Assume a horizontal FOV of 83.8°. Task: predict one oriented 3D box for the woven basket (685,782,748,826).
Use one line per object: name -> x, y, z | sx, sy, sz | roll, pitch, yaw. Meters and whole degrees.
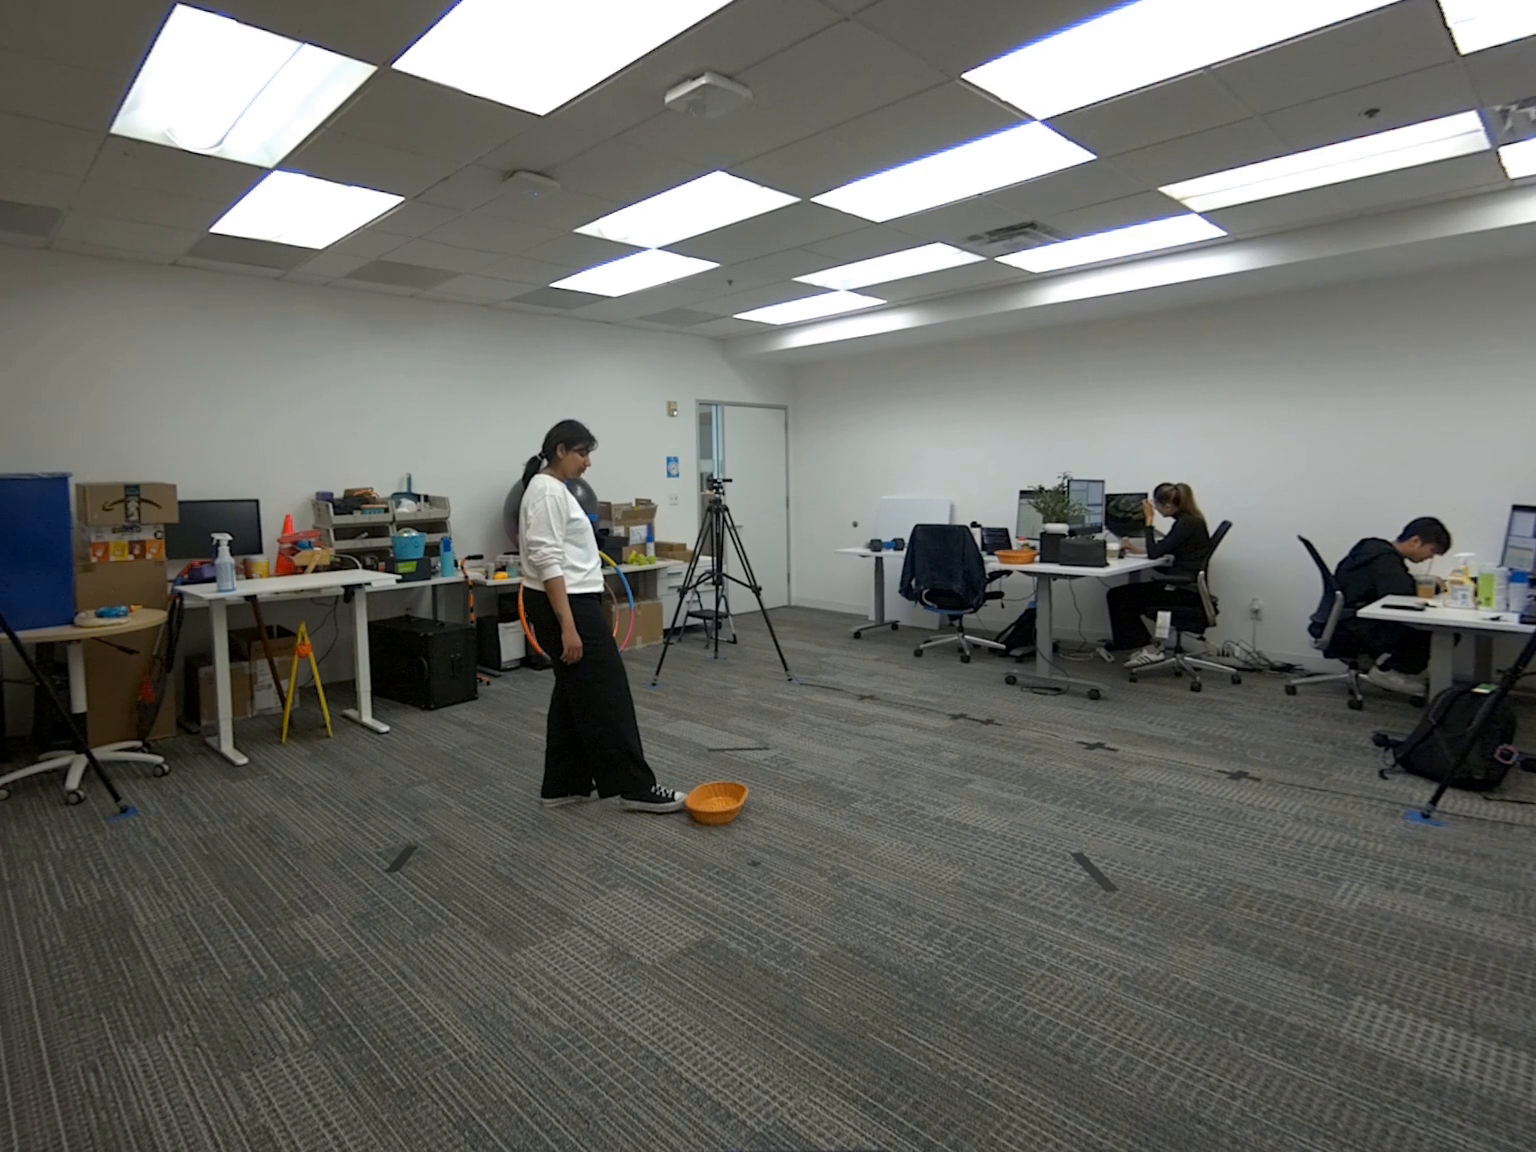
woven basket -> -0.220, 0.951, 3.595 | 0.256, 0.073, 0.347 | 0, 6, 15
